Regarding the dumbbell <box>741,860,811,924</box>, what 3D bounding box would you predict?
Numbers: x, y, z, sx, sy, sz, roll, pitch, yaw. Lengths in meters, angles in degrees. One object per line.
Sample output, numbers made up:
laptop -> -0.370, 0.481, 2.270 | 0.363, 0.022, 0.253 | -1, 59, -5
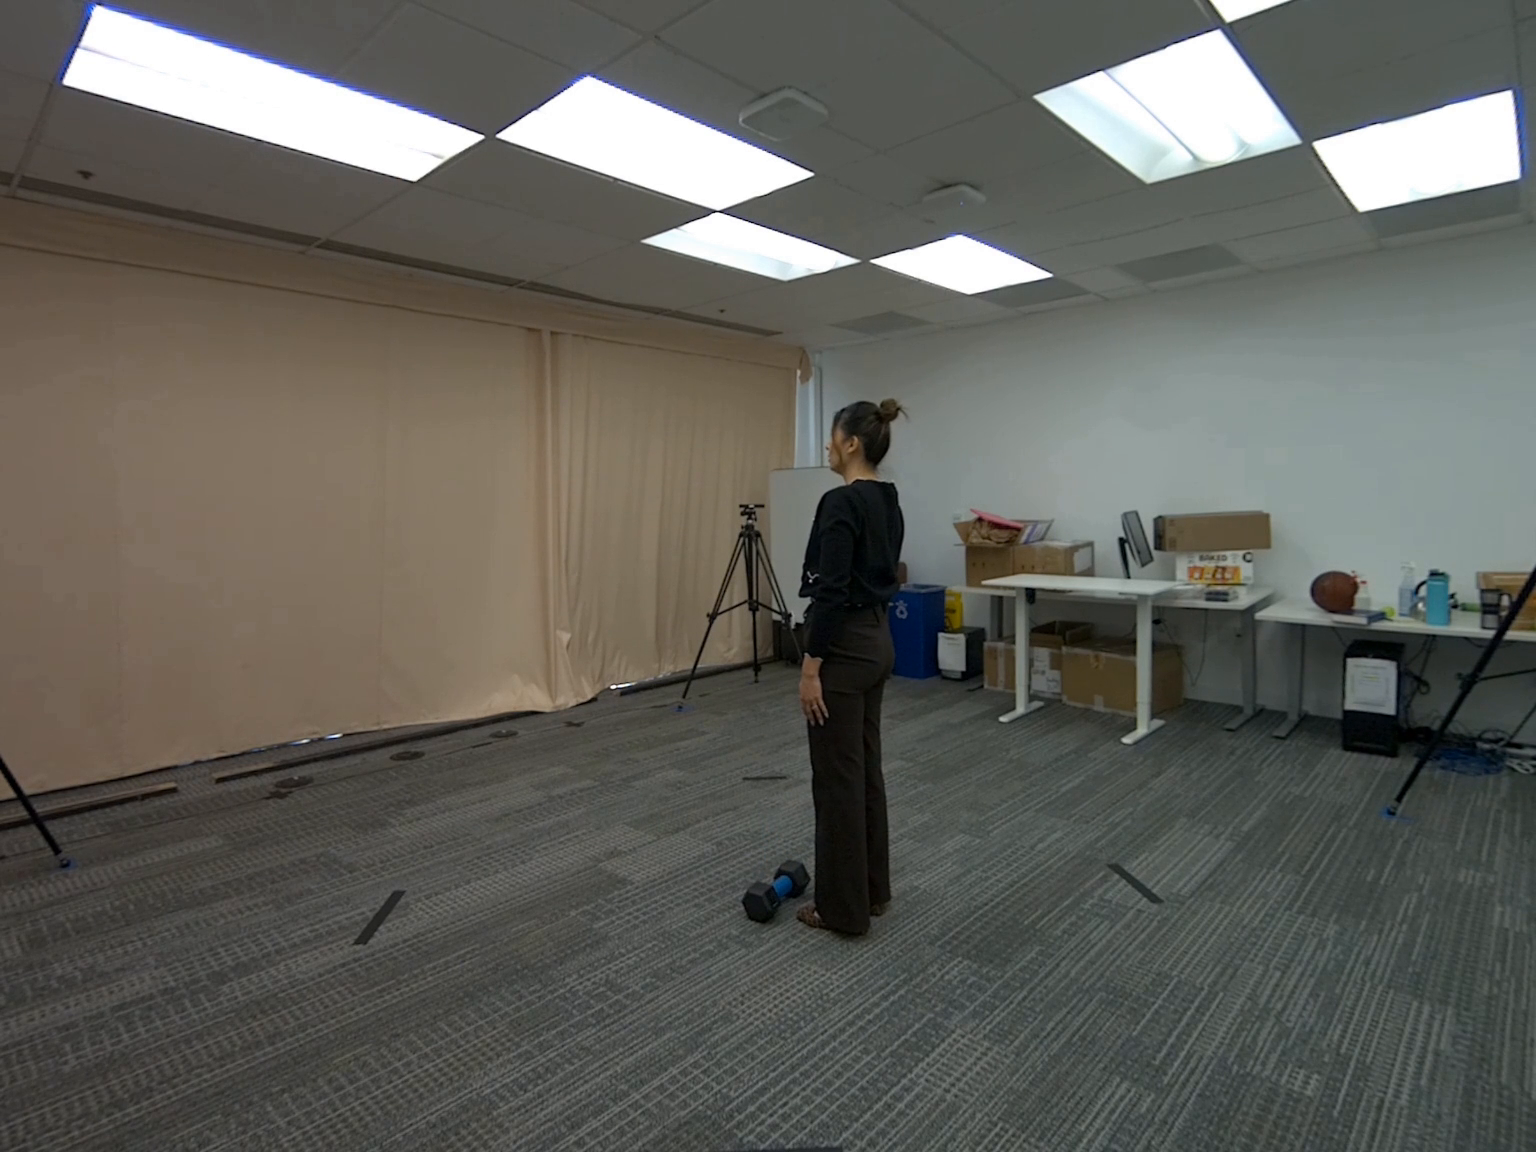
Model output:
dumbbell -> 0.036, 1.094, 2.922 | 0.126, 0.108, 0.285 | -1, 4, 33
